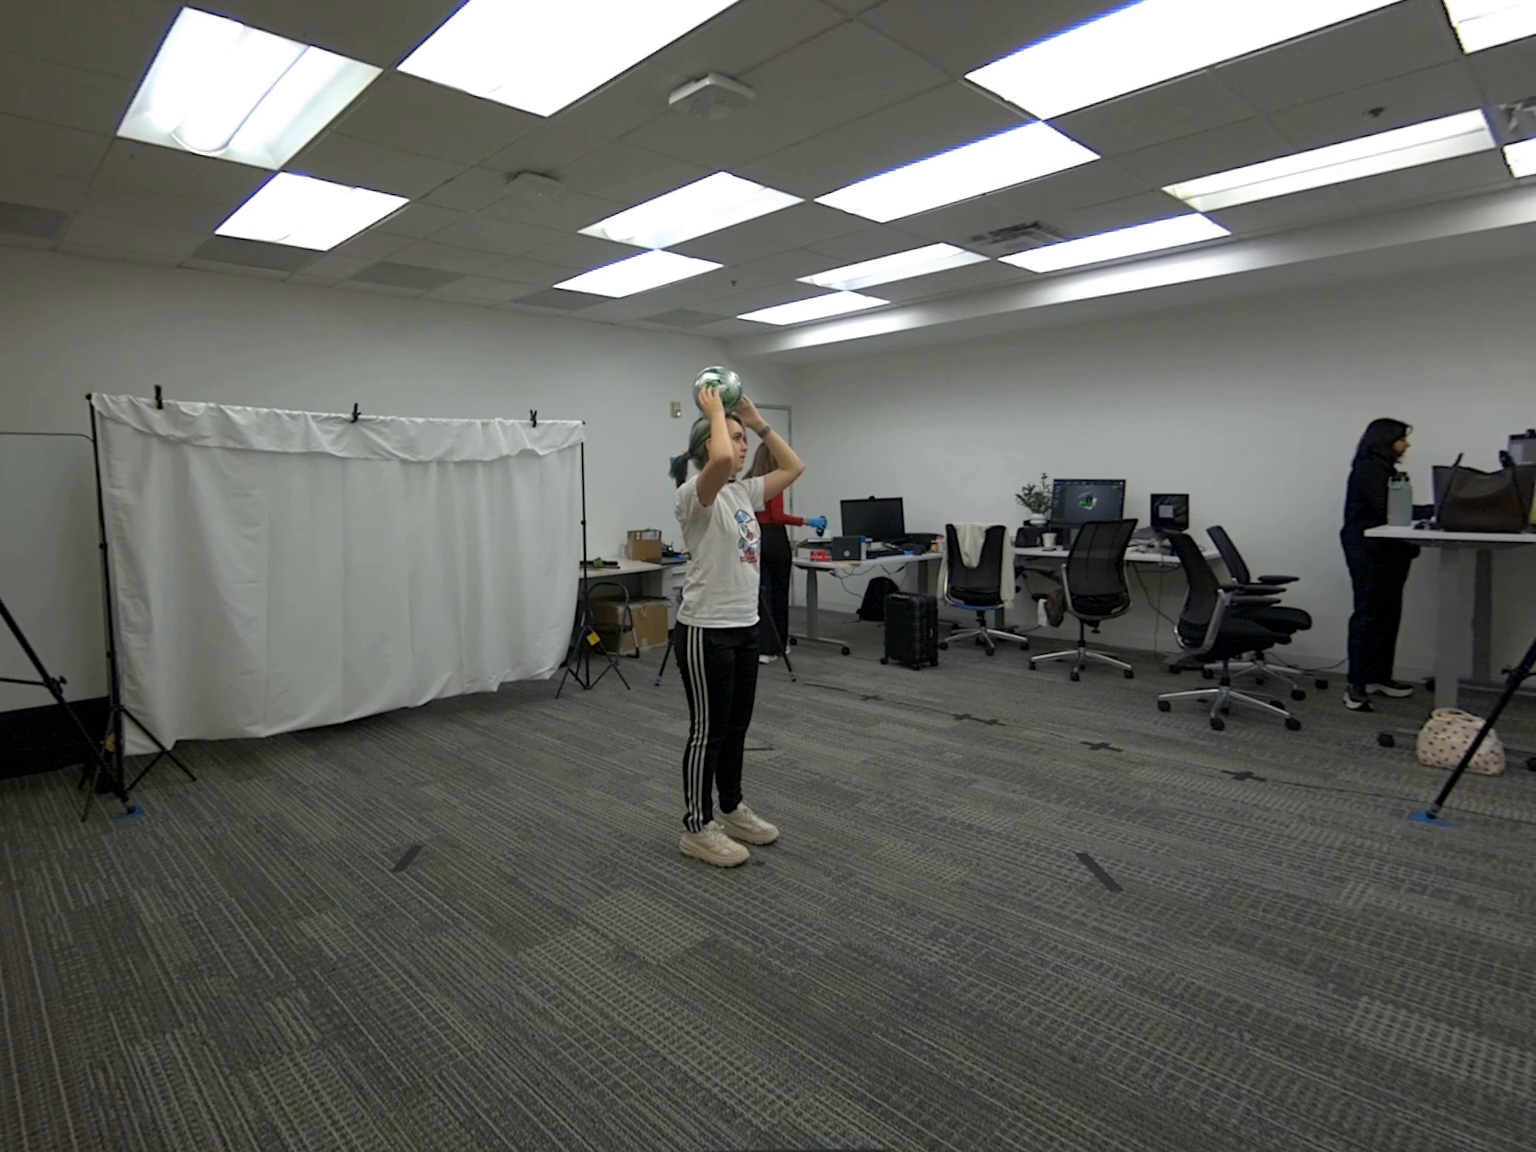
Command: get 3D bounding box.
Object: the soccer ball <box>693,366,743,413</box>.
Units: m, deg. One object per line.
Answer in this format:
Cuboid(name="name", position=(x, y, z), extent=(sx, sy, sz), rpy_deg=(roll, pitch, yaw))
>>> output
Cuboid(name="soccer ball", position=(-0.188, -0.682, 3.172), extent=(0.187, 0.187, 0.188), rpy_deg=(-1, 5, -2))
